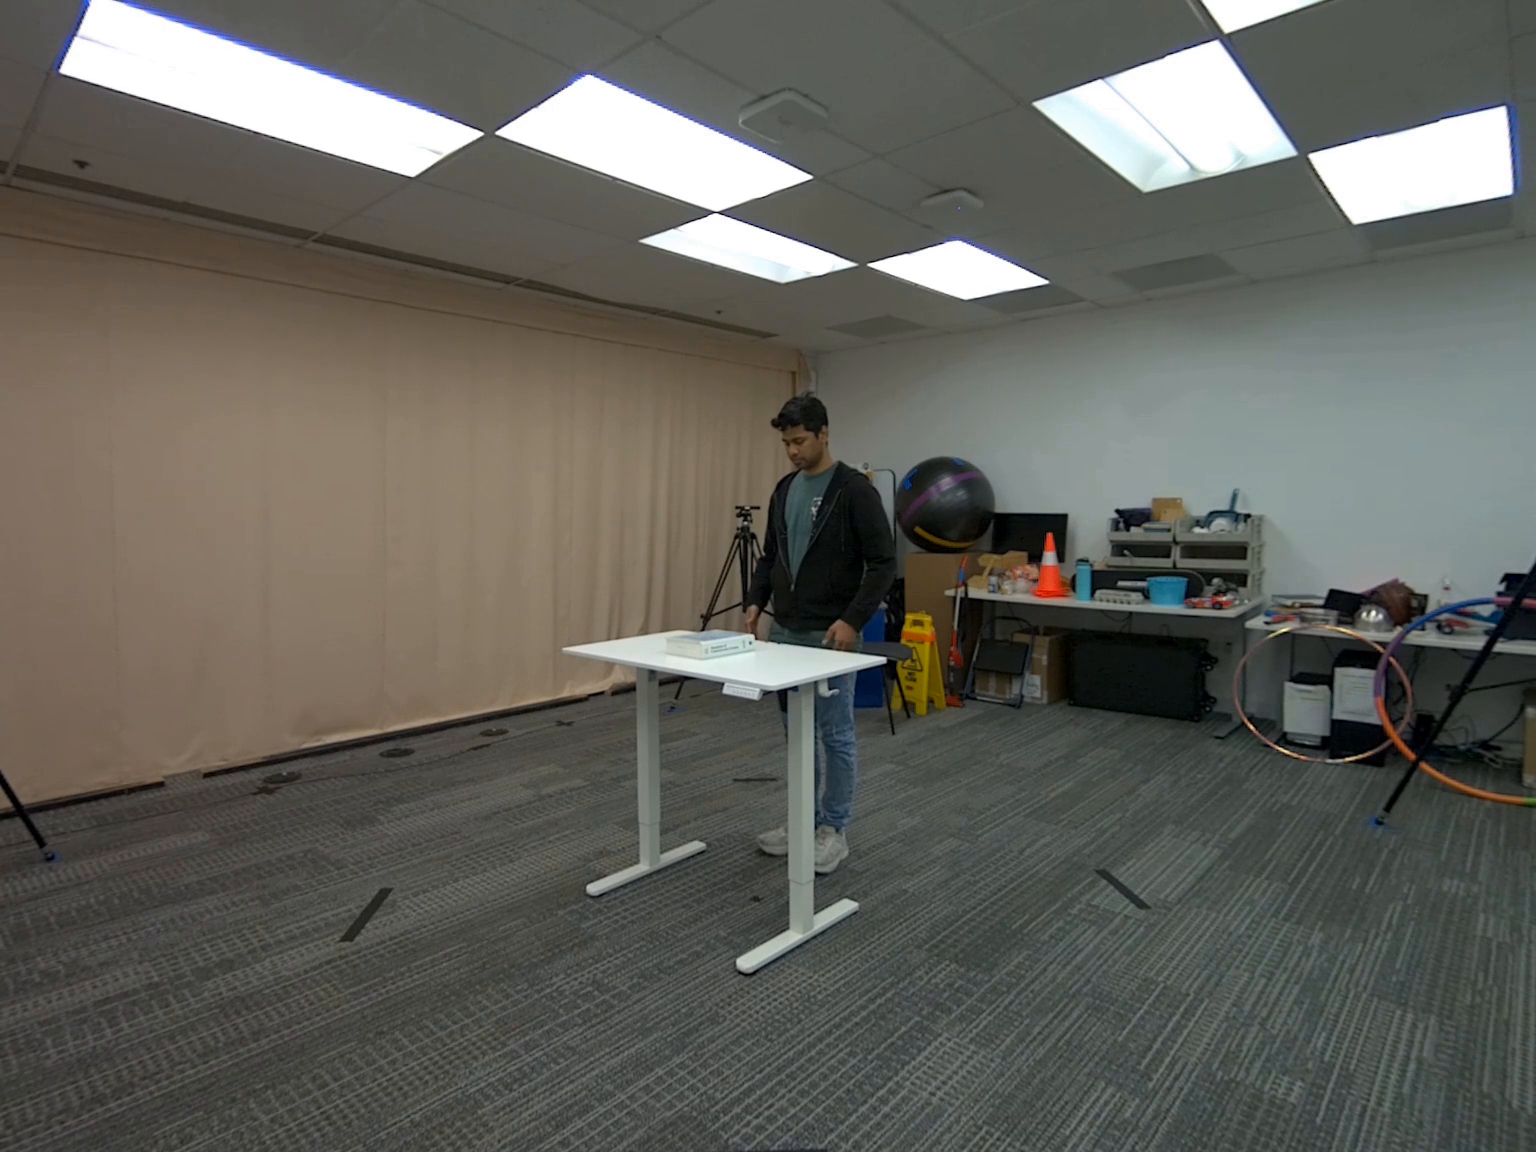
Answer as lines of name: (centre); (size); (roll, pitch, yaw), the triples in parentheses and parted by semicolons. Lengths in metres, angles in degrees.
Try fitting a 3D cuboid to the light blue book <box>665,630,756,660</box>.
light blue book: (-0.207, 0.239, 2.948); (0.198, 0.059, 0.253); (4, 6, 42)
